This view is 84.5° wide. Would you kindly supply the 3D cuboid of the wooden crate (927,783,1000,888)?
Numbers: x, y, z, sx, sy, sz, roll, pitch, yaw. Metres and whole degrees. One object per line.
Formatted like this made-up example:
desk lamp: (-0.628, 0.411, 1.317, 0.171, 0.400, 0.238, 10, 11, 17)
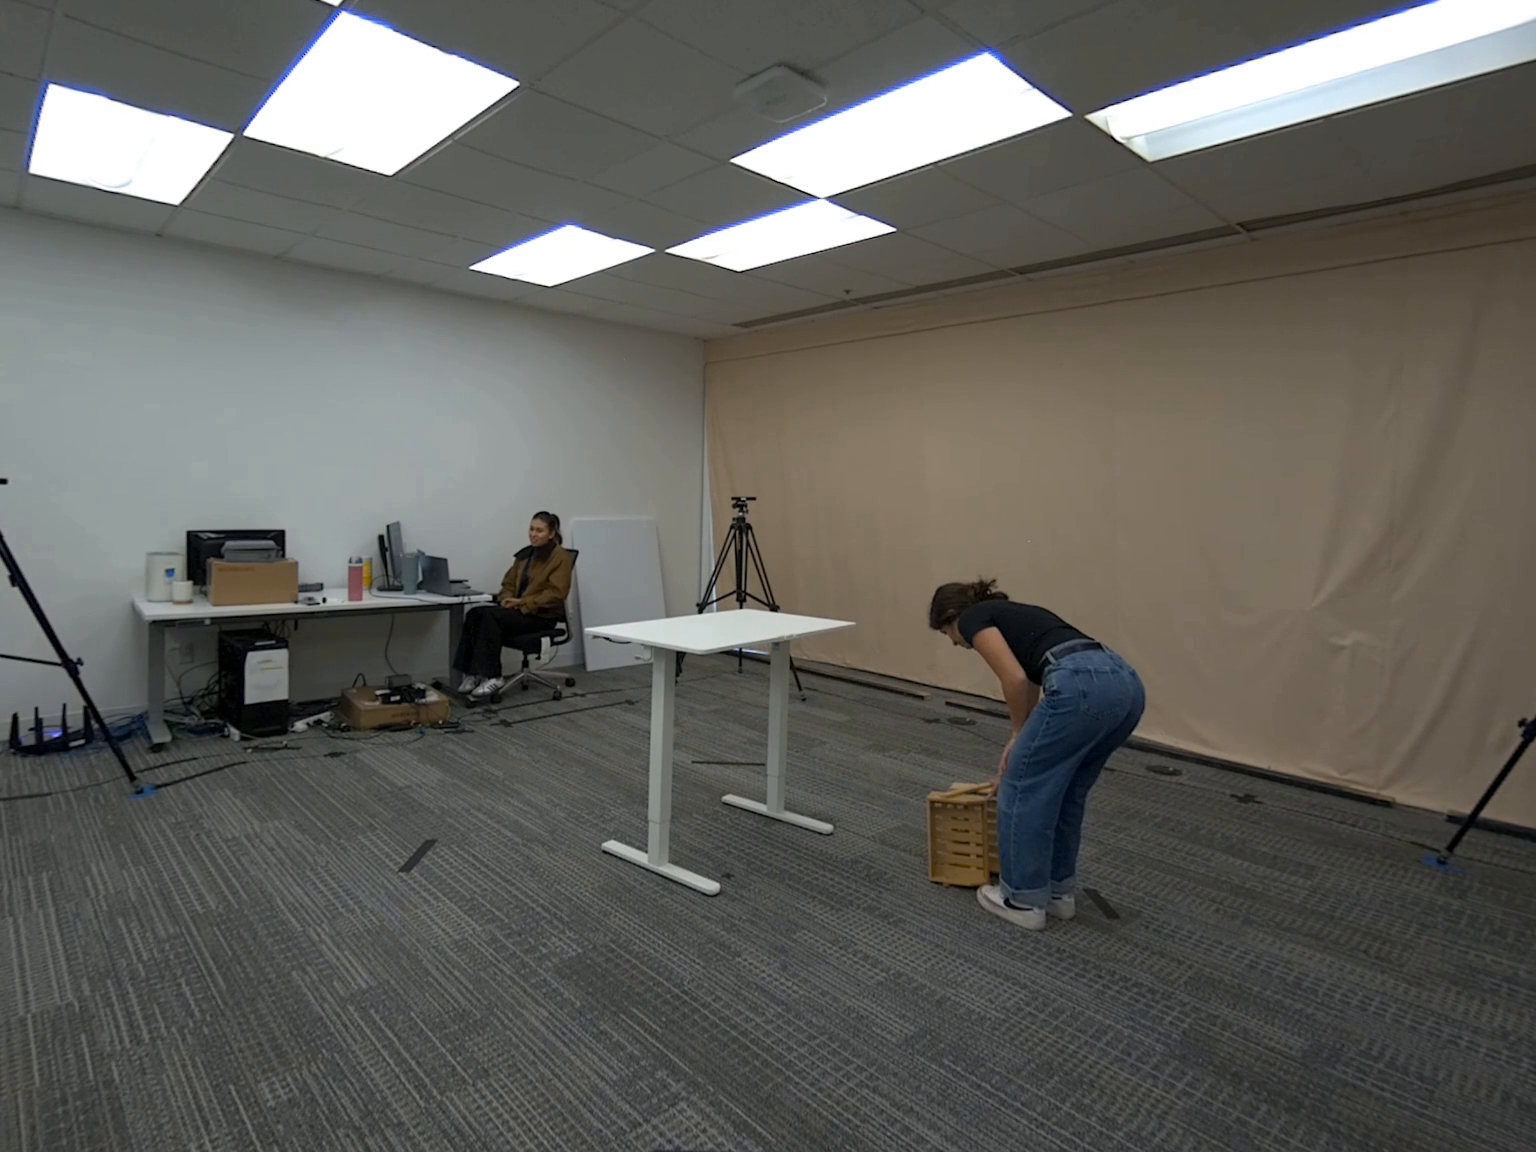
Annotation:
wooden crate: (0.772, 0.963, 3.144, 0.307, 0.325, 0.268, -2, -1, 24)
